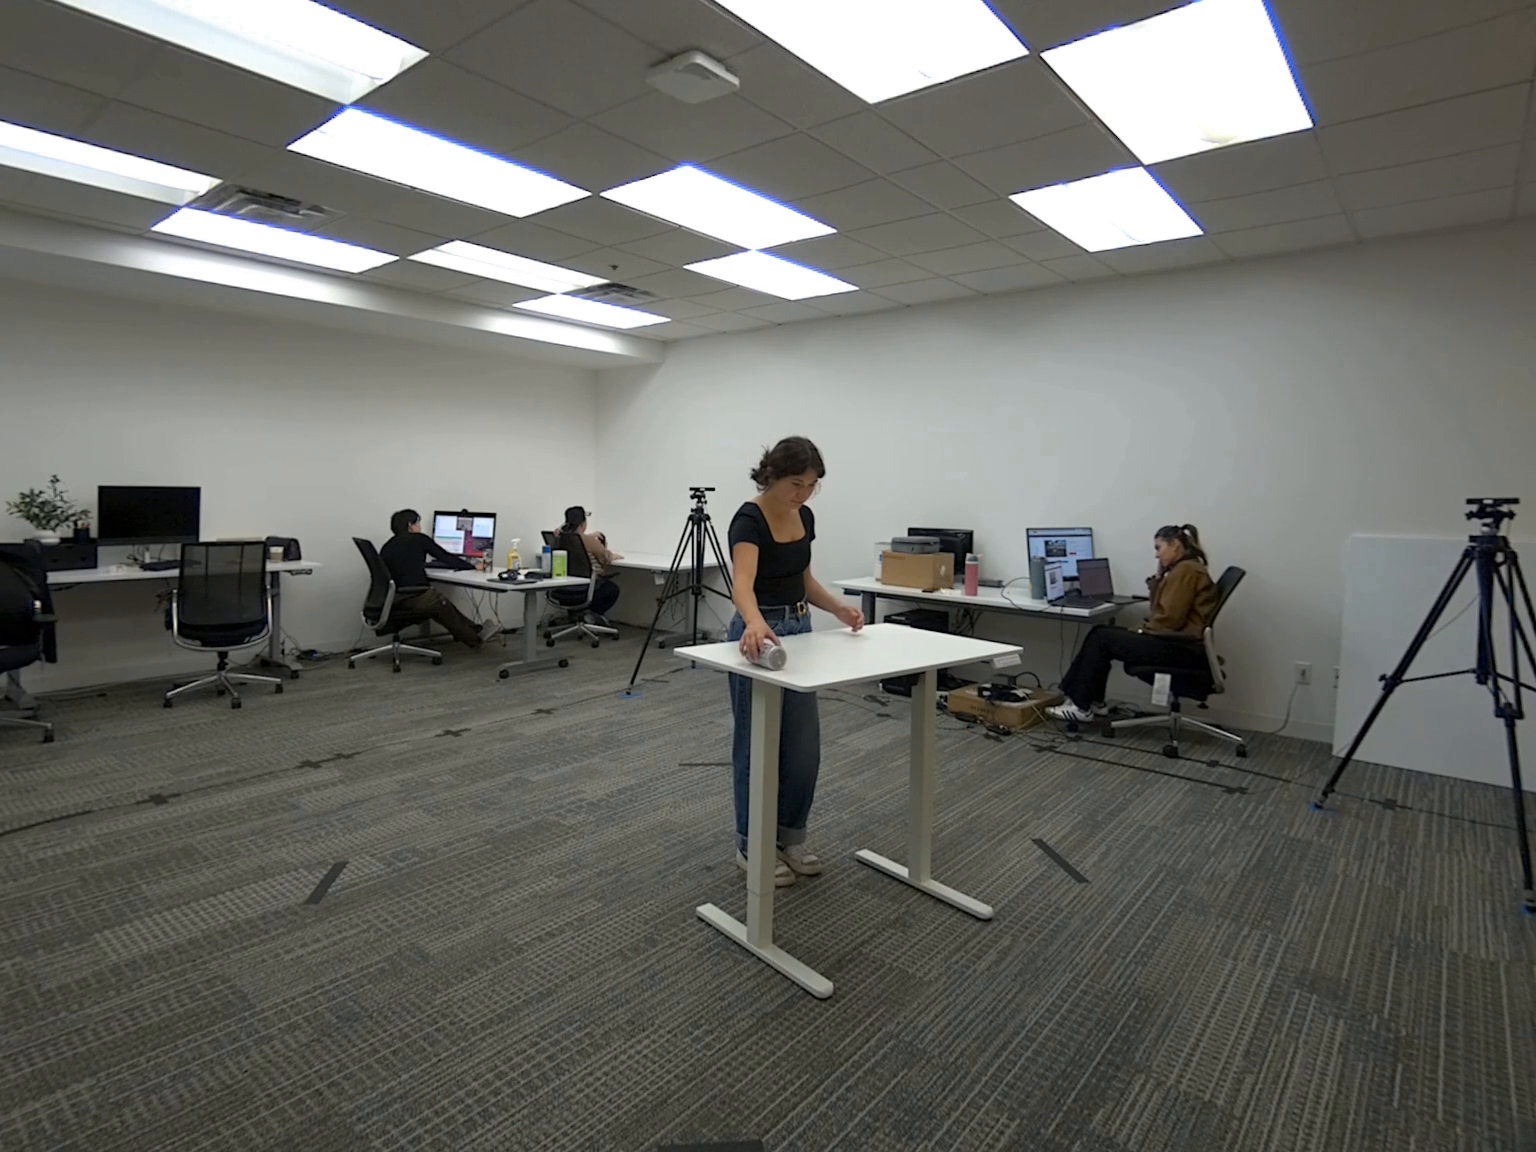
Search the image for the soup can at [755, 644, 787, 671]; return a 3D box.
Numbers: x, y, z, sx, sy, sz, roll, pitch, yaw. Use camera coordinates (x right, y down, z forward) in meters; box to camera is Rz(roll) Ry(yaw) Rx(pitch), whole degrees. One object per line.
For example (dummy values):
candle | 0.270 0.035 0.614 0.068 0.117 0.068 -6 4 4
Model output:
soup can | -0.010 0.224 2.433 0.065 0.067 0.125 -1 1 -31
